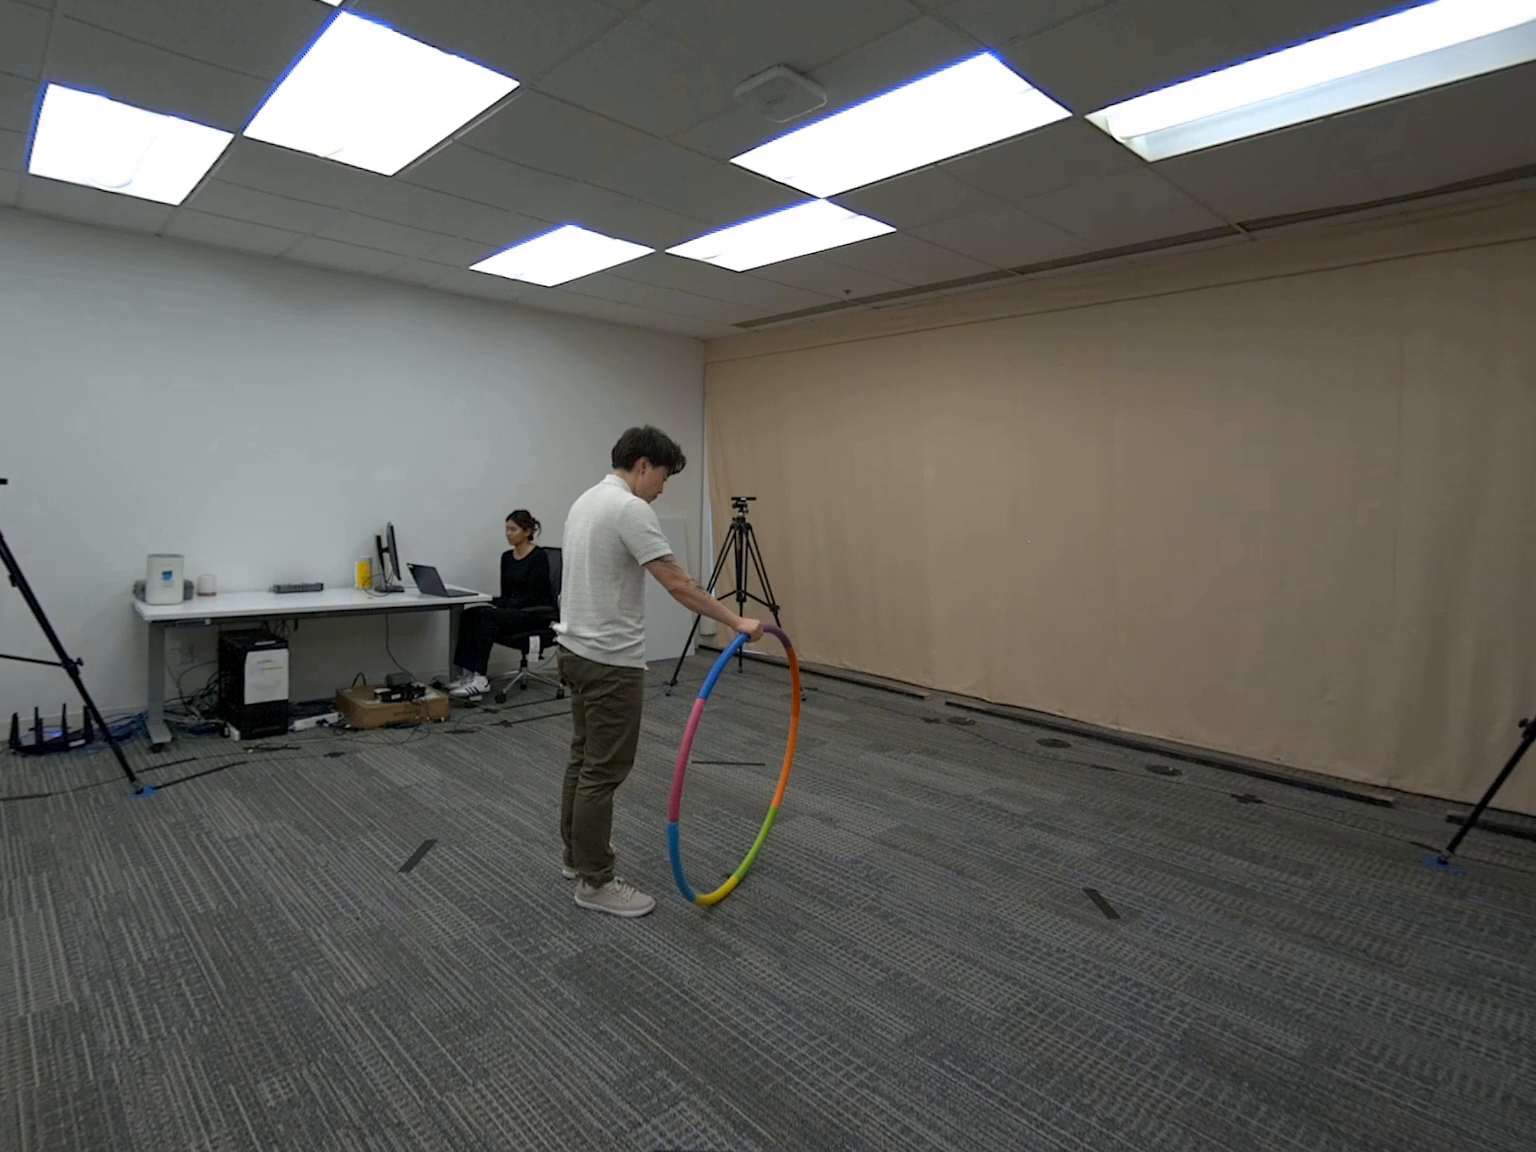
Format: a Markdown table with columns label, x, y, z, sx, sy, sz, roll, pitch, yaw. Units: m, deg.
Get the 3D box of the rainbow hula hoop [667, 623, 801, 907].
| label | x | y | z | sx | sy | sz | roll | pitch | yaw |
| --- | --- | --- | --- | --- | --- | --- | --- | --- | --- |
| rainbow hula hoop | -0.093 | 0.644 | 2.941 | 0.036 | 0.975 | 0.964 | 10 | 7 | 21 |
